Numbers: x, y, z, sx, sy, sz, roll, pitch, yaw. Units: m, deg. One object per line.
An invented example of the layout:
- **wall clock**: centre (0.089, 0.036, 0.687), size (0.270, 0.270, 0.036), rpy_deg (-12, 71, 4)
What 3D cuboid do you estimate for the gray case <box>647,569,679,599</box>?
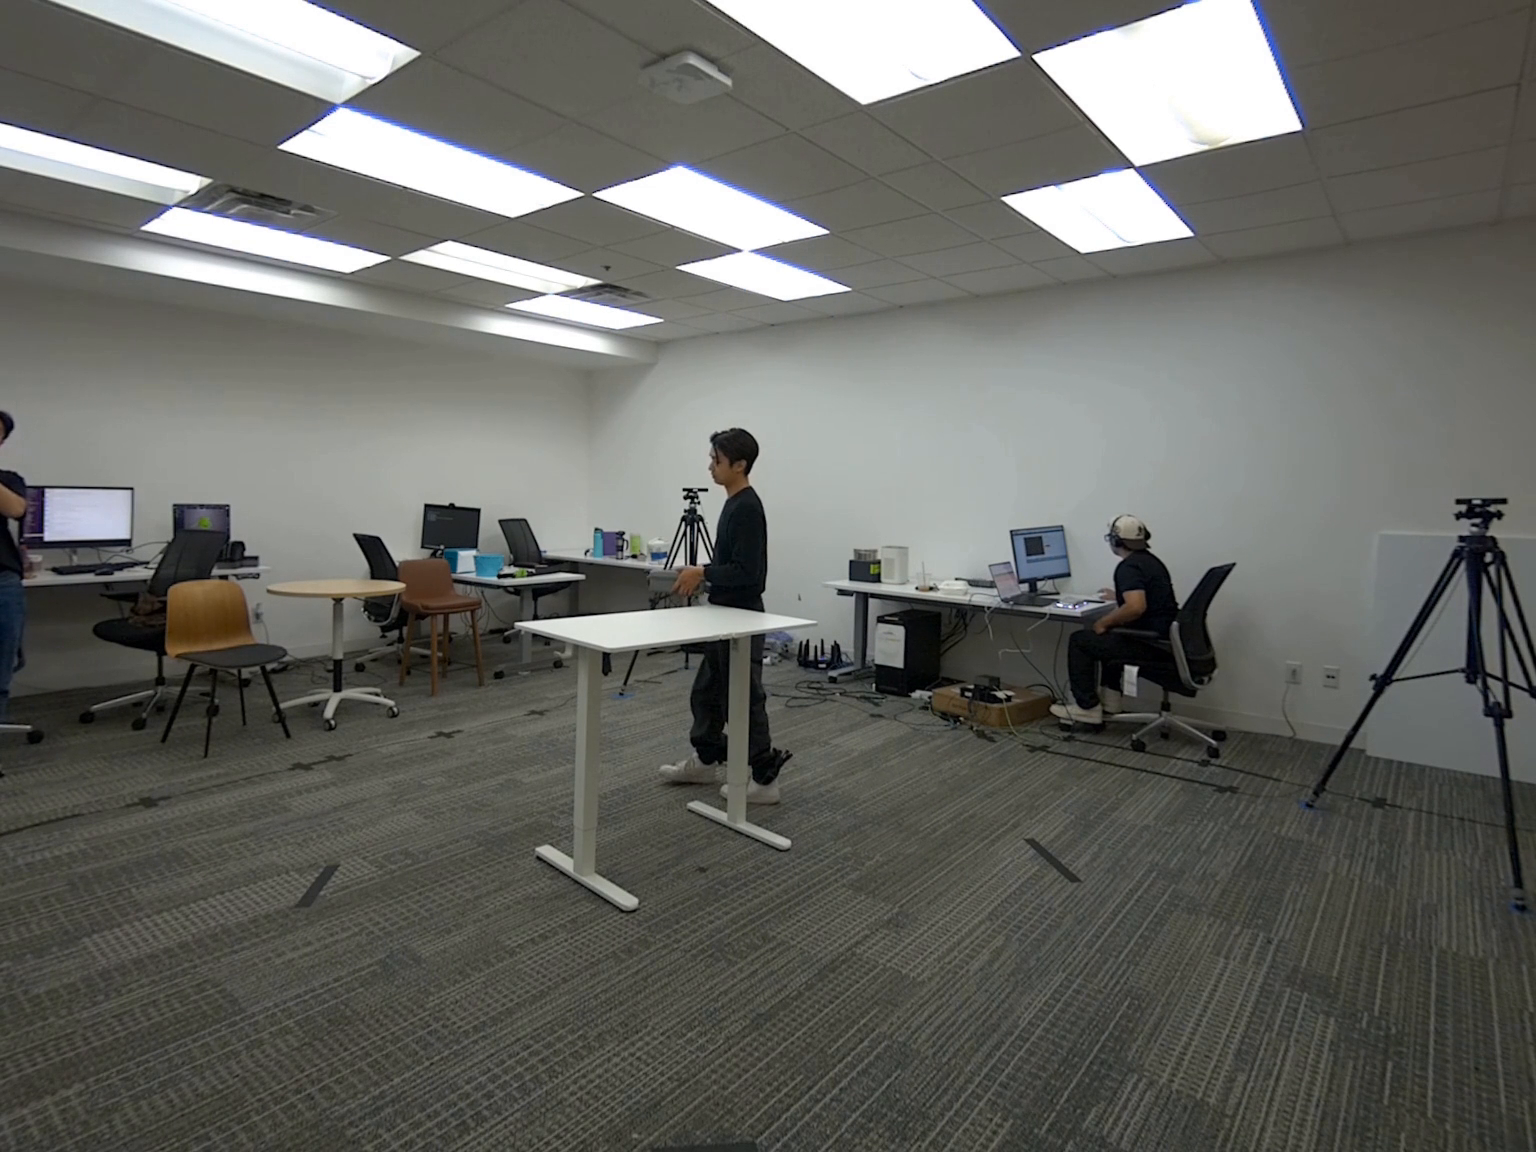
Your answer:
- **gray case**: centre (-0.426, 0.022, 3.893), size (0.259, 0.104, 0.258), rpy_deg (4, 0, -4)
